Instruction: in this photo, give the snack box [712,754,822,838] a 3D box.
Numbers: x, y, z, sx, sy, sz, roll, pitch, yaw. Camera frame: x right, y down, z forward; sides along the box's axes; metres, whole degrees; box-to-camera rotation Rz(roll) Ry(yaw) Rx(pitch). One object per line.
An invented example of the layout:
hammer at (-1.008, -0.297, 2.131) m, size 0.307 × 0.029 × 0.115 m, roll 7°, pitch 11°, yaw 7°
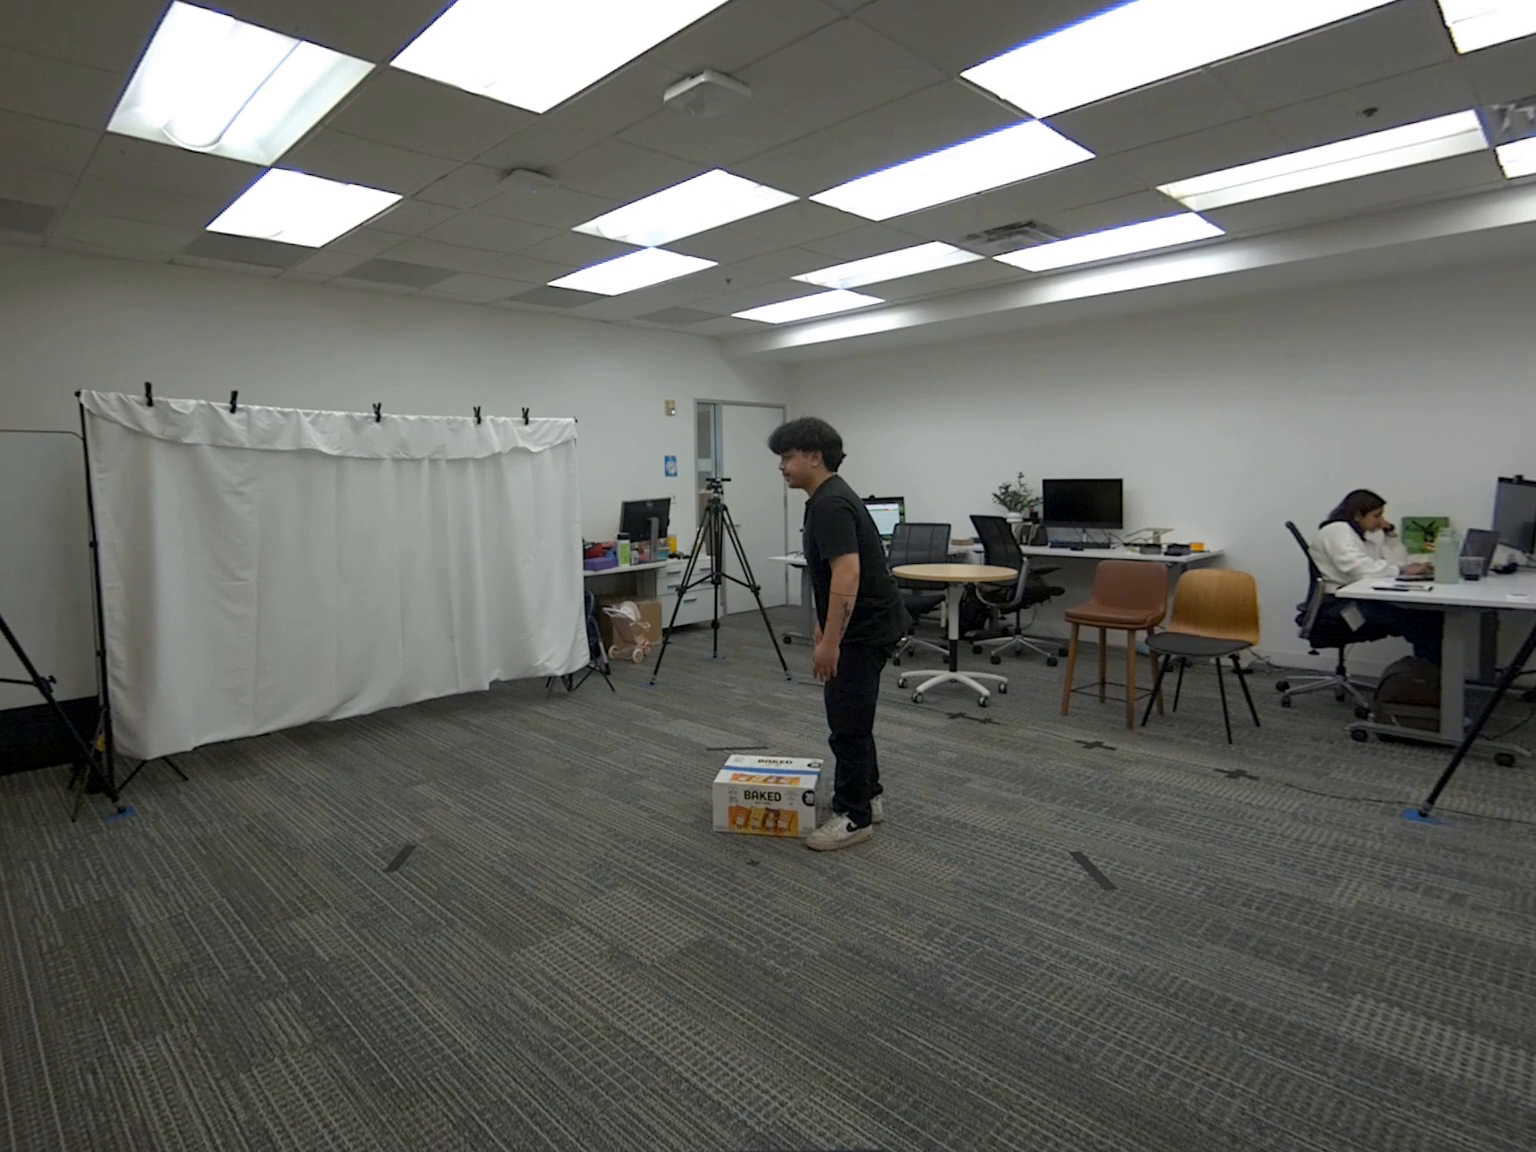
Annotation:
snack box at (0.014, 0.892, 3.497) m, size 0.410 × 0.205 × 0.338 m, roll 0°, pitch 6°, yaw 11°
